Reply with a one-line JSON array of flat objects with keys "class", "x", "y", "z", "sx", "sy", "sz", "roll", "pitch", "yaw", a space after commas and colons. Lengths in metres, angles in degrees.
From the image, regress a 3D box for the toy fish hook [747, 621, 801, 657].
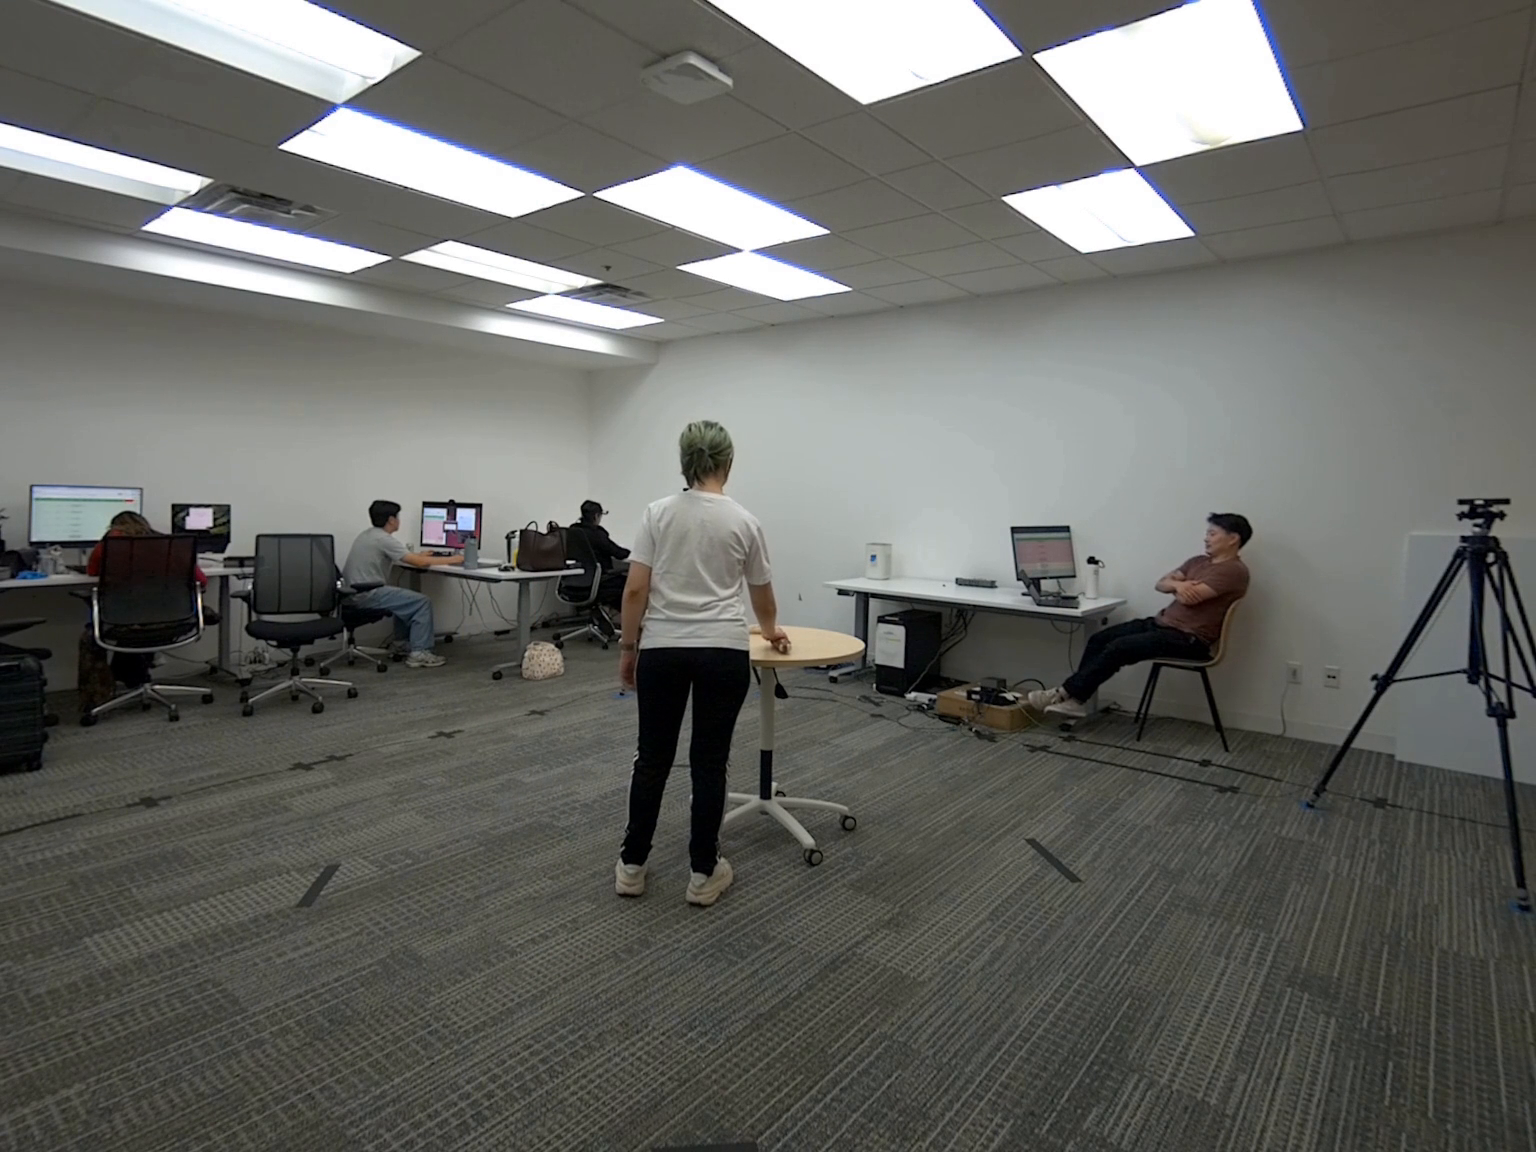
[{"class": "toy fish hook", "x": -0.040, "y": 0.244, "z": 3.379, "sx": 0.223, "sy": 0.048, "sz": 0.513, "roll": -6, "pitch": 6, "yaw": -10}]
